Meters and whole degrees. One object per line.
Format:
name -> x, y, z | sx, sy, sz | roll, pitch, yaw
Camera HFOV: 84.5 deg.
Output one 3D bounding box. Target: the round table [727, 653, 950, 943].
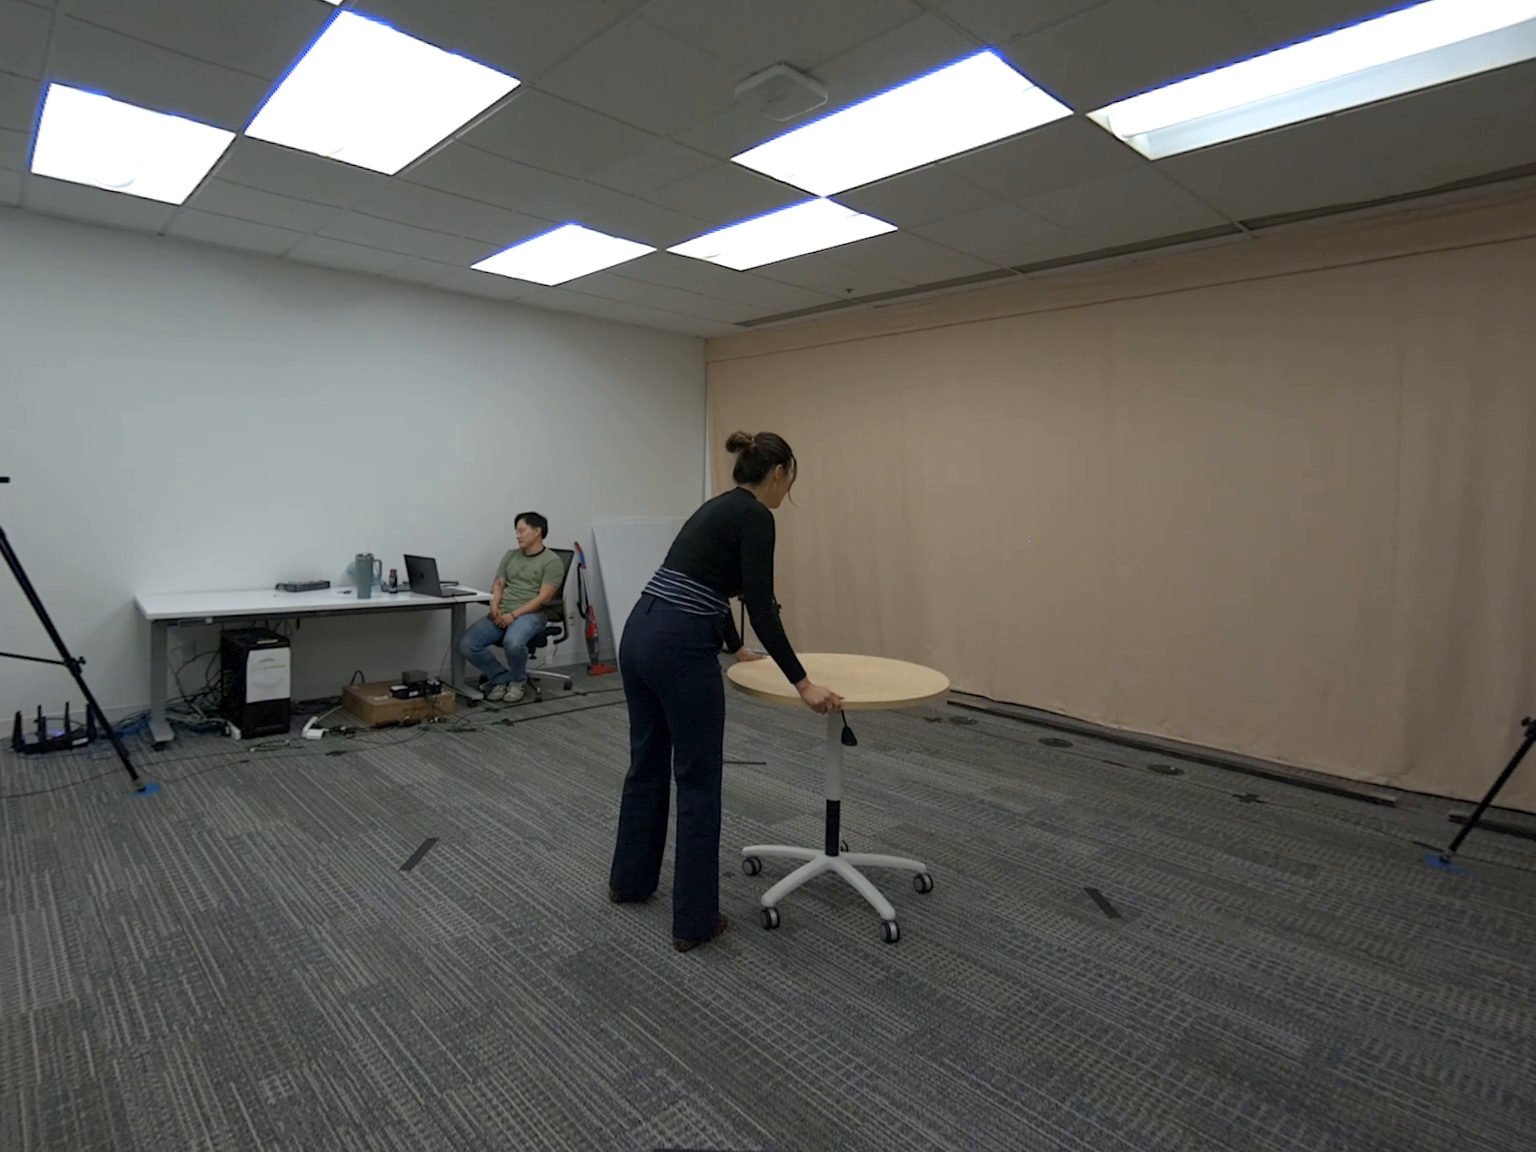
round table -> 0.219, 0.735, 2.960 | 0.763, 0.792, 0.766 | 1, 4, -1
